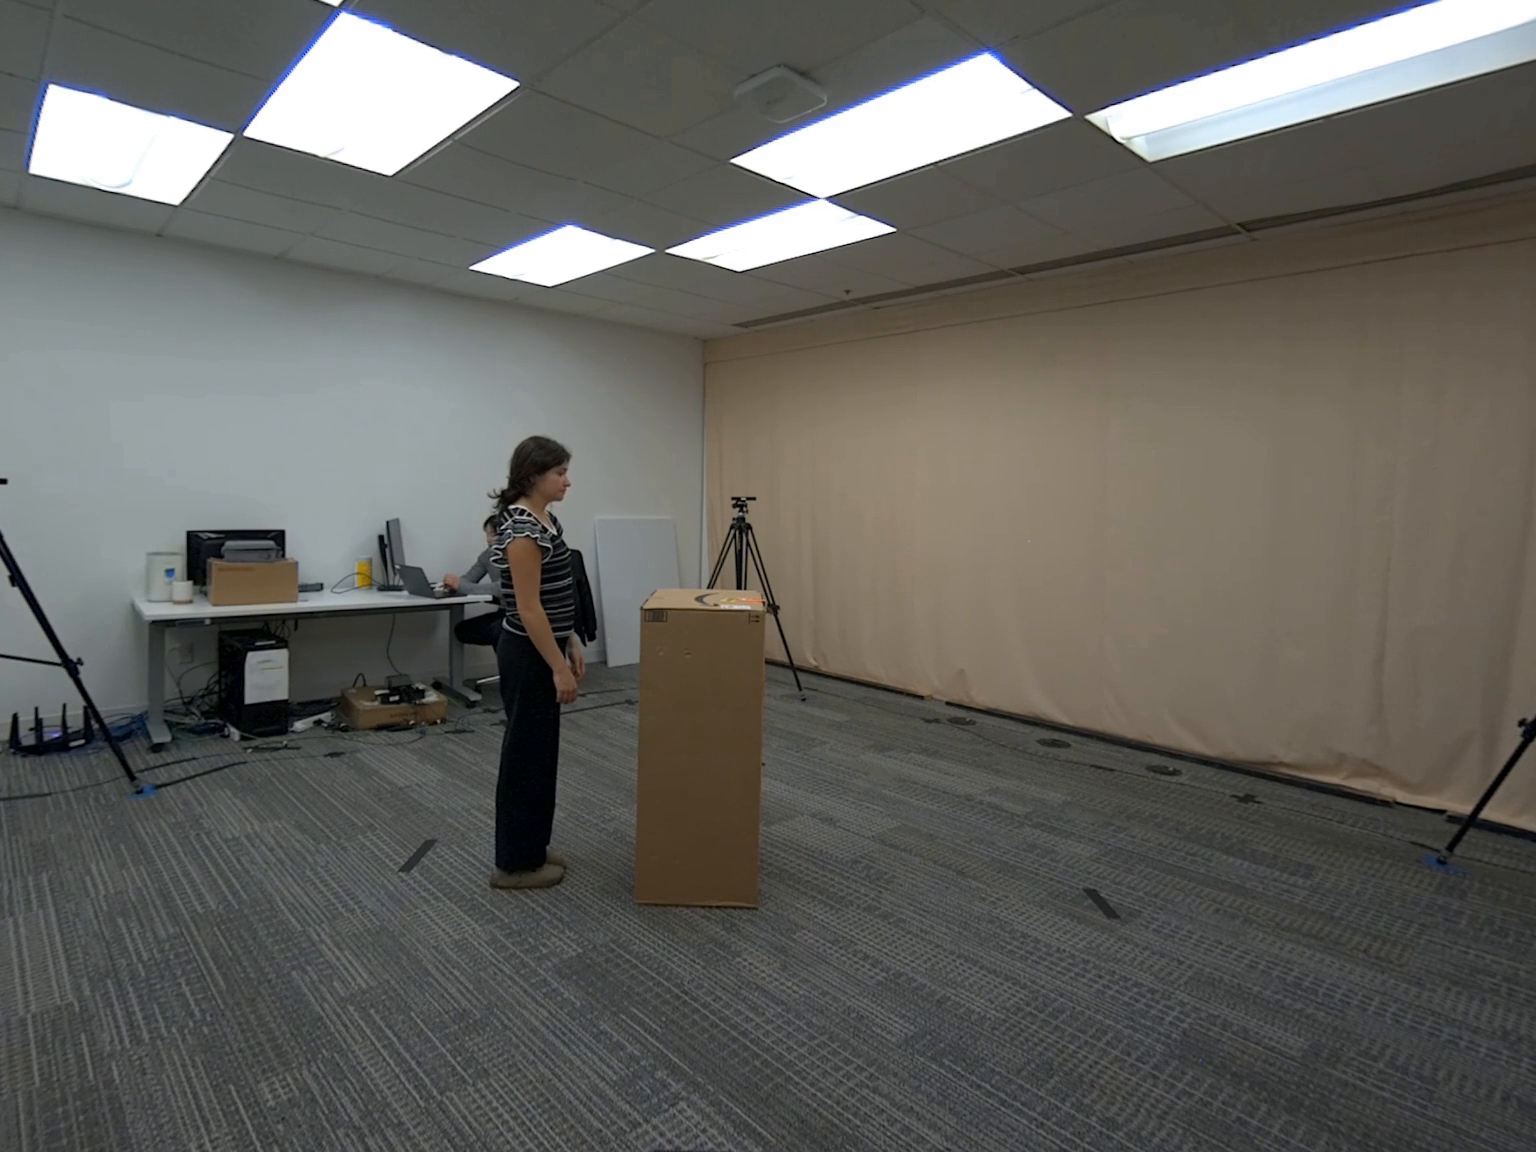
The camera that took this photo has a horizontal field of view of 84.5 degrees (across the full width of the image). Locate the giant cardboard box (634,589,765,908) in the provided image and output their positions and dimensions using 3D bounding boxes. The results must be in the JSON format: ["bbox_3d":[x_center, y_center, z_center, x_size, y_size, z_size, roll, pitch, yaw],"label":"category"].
[{"bbox_3d":[-0.247,0.595,3.126,0.426,1.023,0.579,2,3,-1],"label":"giant cardboard box"}]
